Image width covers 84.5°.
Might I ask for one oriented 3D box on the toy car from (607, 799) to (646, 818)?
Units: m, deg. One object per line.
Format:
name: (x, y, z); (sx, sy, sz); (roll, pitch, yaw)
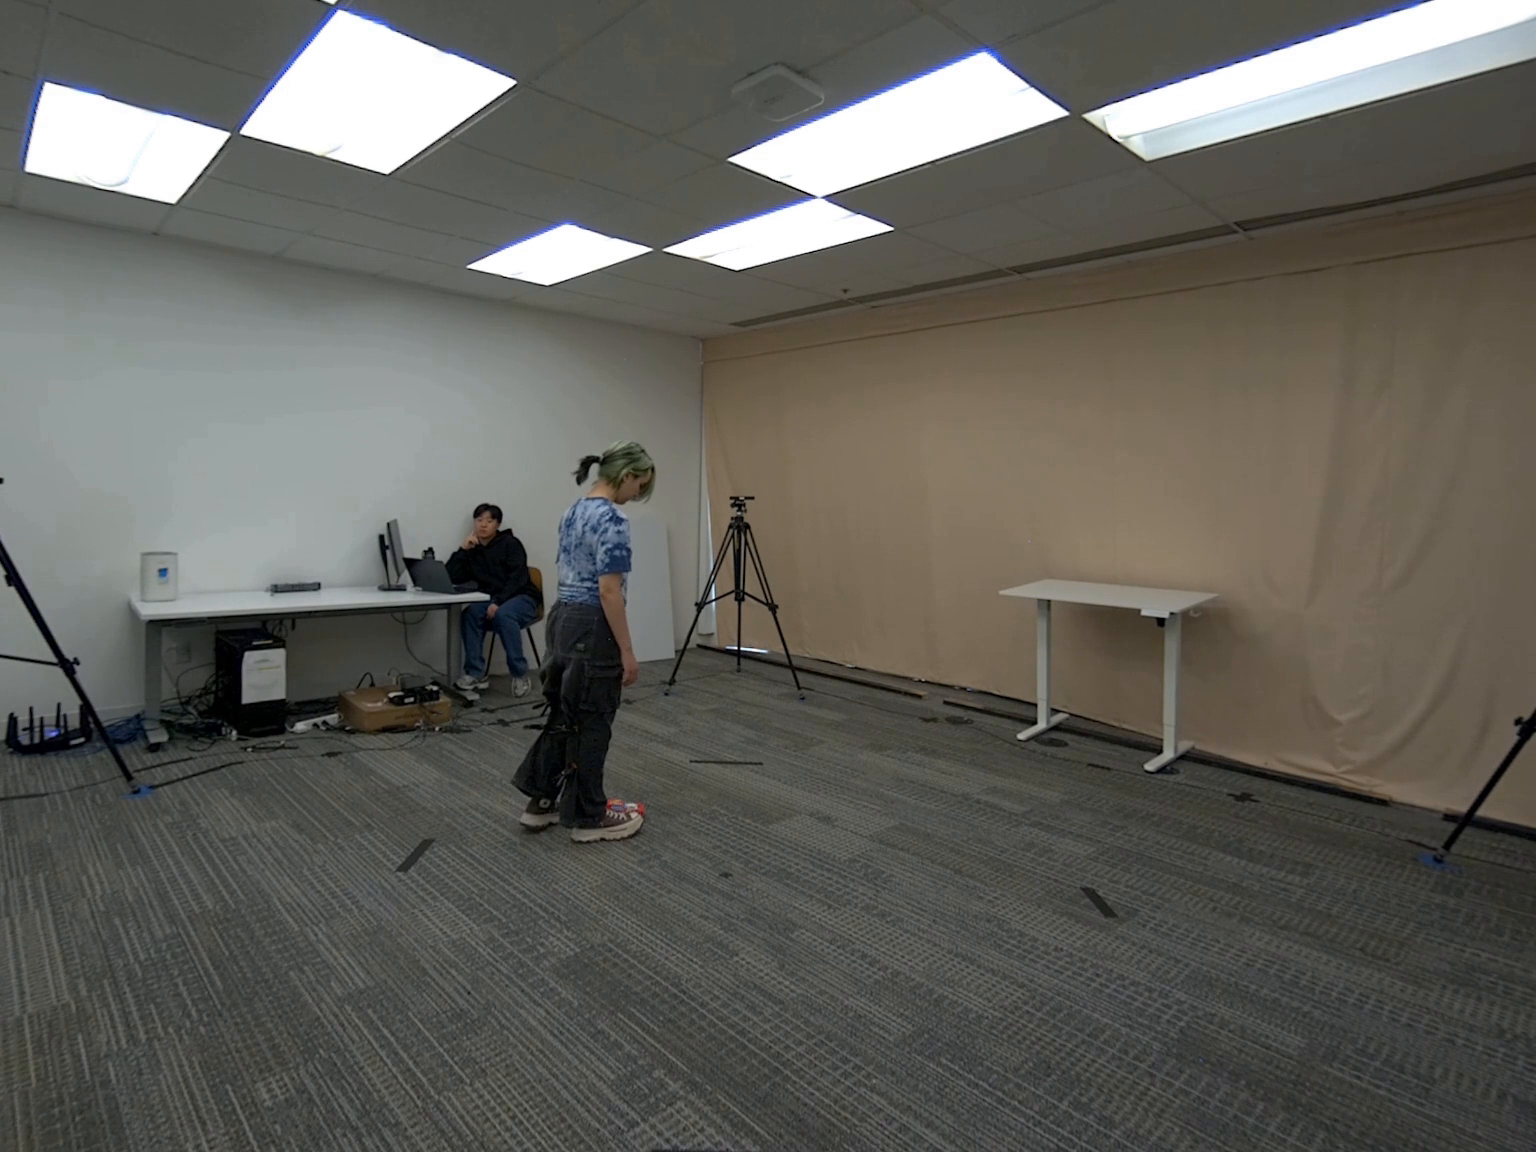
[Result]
toy car: (-0.670, 1.014, 3.626); (0.253, 0.083, 0.131); (12, 3, -6)
